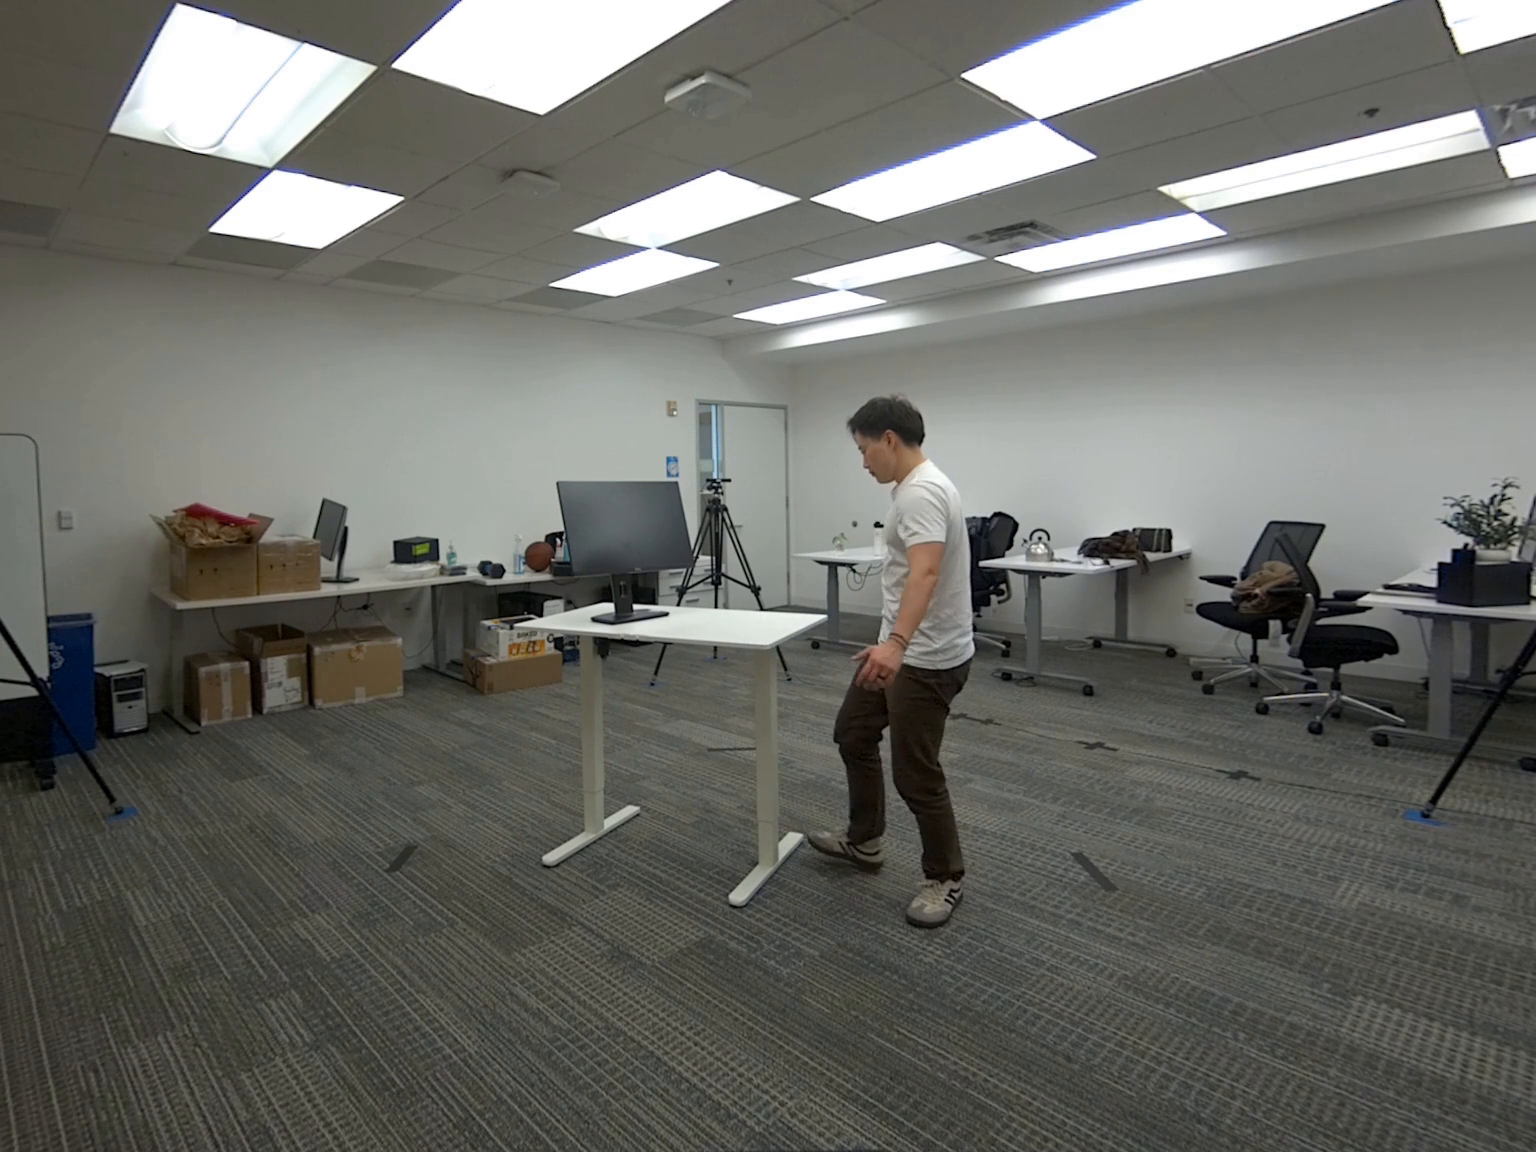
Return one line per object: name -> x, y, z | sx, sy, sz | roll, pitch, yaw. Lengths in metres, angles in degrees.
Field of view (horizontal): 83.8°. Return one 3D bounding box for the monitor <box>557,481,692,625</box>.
monitor -> -0.529, -0.095, 3.207 | 0.192, 0.522, 0.524 | -3, 1, 45
